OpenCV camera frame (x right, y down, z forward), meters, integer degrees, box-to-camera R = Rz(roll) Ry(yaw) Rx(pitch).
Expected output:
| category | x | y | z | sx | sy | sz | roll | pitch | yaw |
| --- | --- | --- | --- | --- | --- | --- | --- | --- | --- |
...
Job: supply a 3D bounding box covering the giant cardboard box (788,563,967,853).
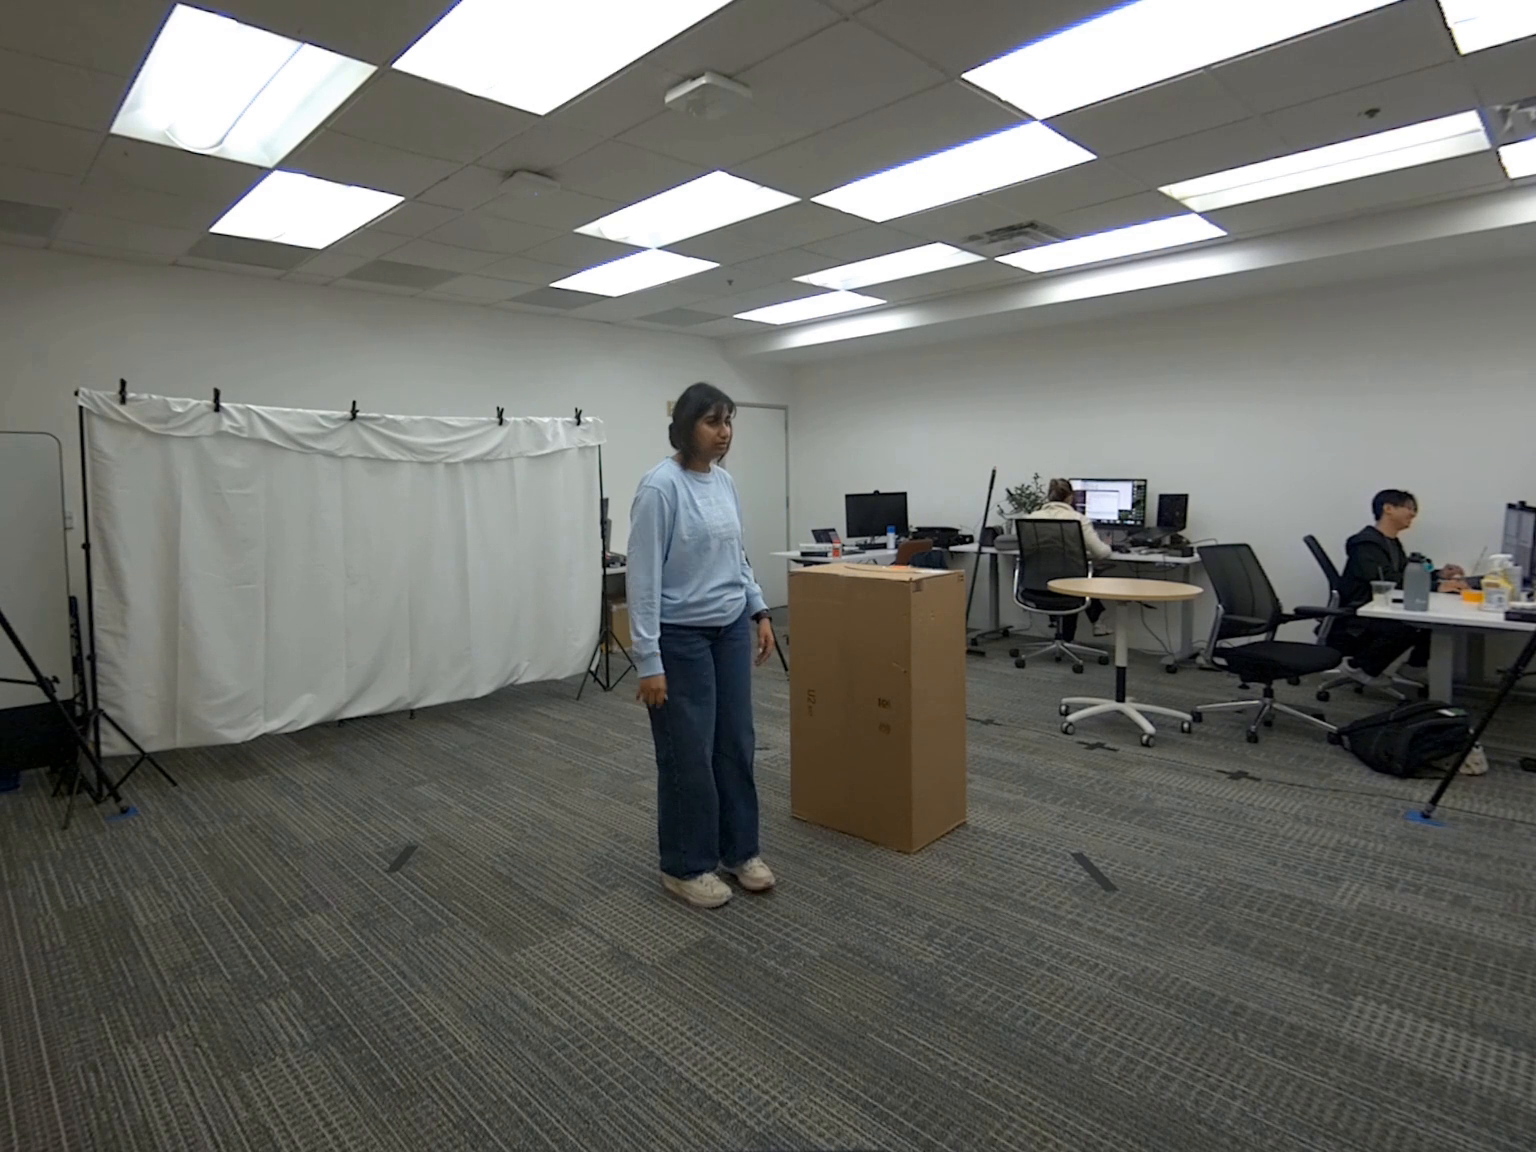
| category | x | y | z | sx | sy | sz | roll | pitch | yaw |
| --- | --- | --- | --- | --- | --- | --- | --- | --- | --- |
| giant cardboard box | 0.446 | 0.485 | 3.474 | 0.602 | 1.024 | 0.435 | 3 | 5 | 43 |
